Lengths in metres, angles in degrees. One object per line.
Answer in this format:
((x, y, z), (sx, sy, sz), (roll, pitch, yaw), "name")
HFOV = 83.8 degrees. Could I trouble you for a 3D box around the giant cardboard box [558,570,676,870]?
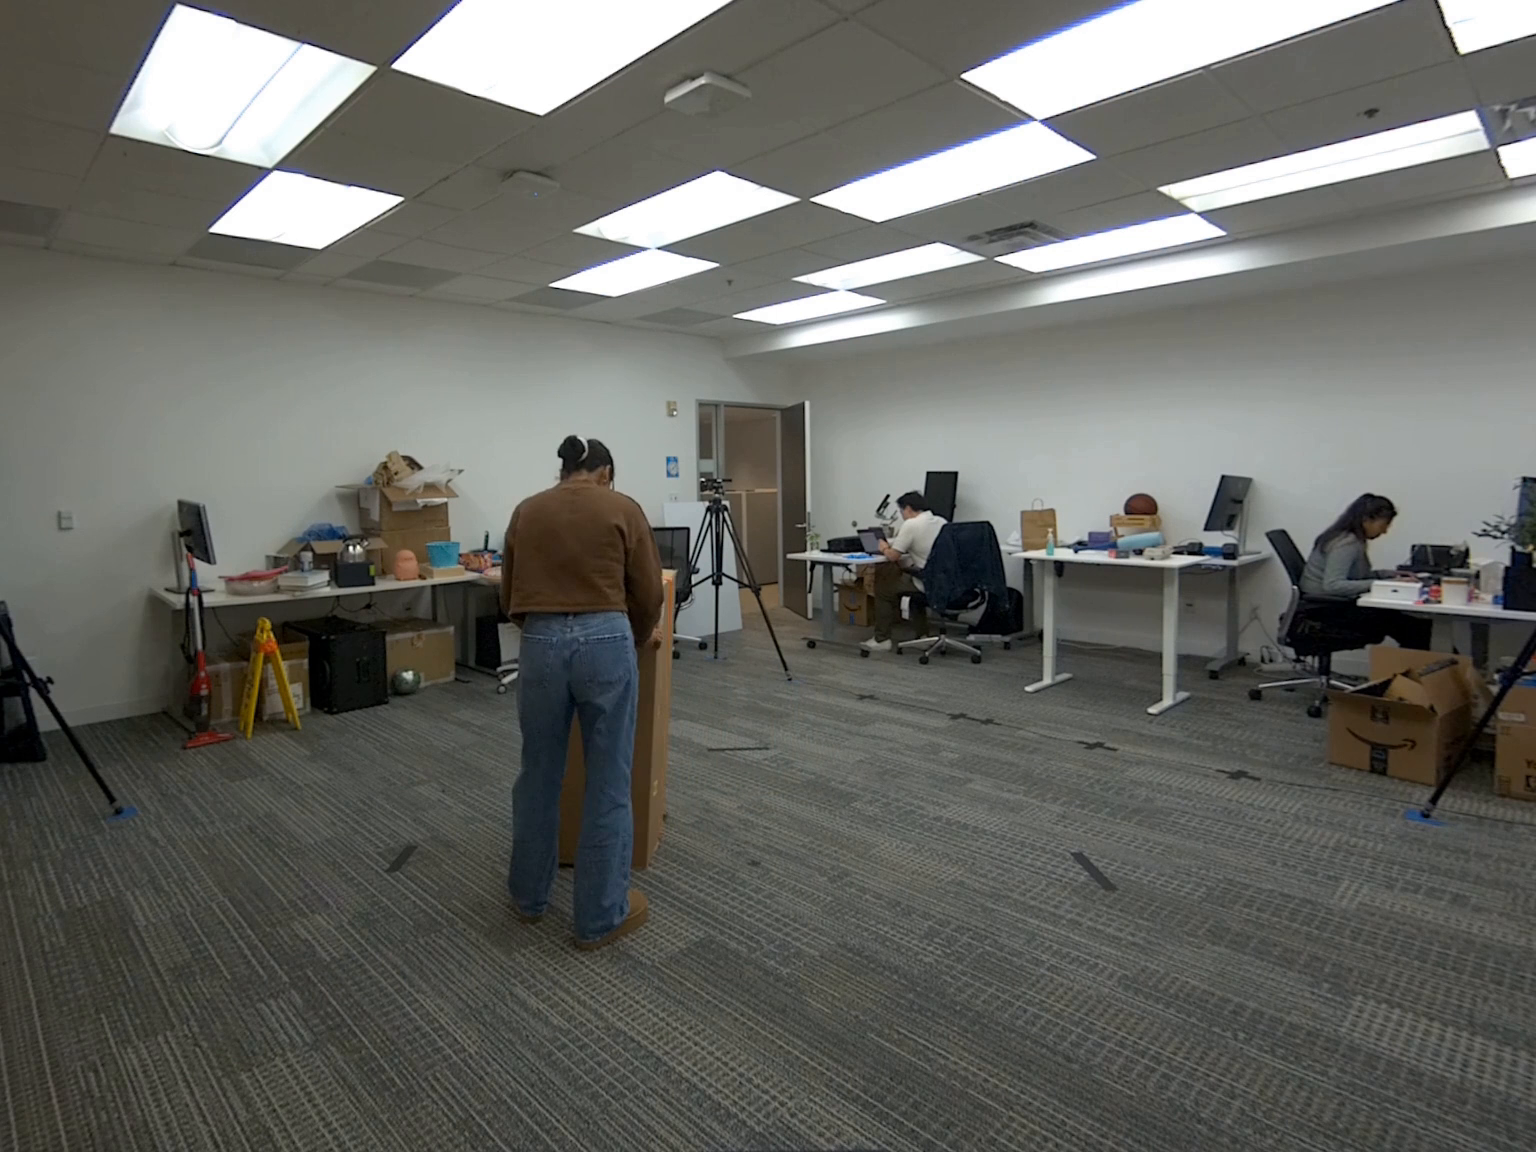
((-0.615, 0.509, 3.340), (0.427, 1.022, 0.578), (3, 4, 1), "giant cardboard box")
